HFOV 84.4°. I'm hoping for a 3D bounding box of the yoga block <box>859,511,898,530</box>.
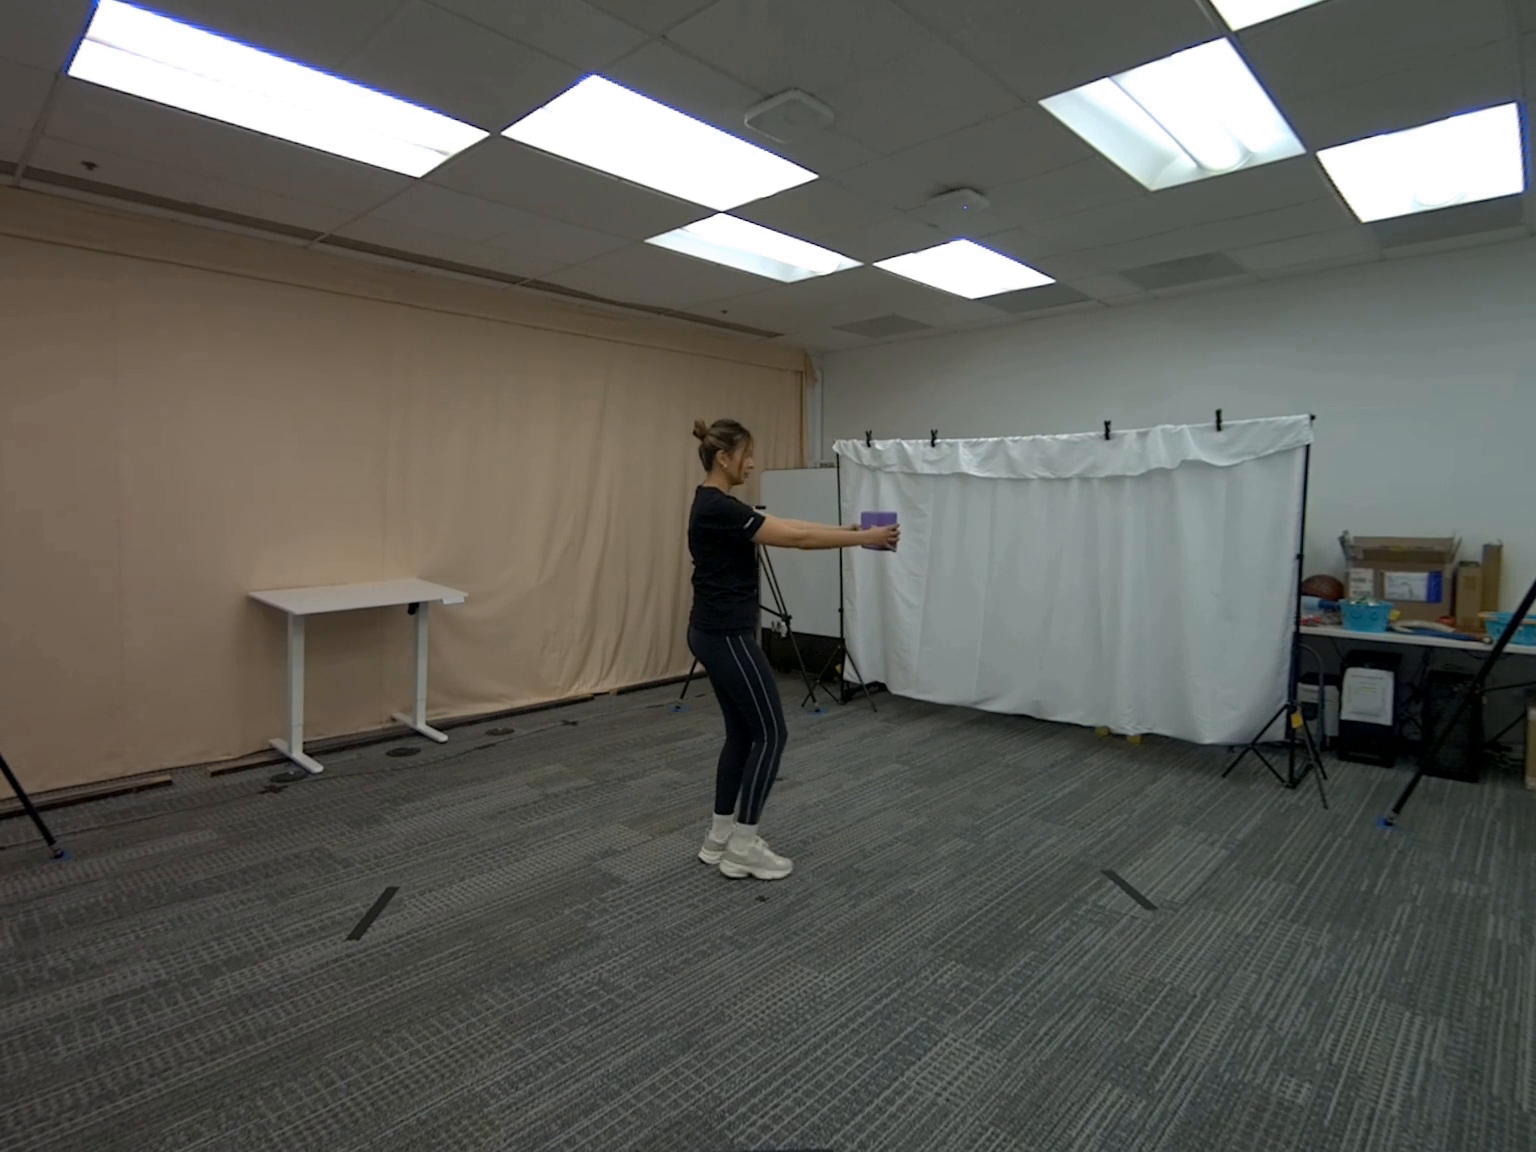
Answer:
[{"bbox_3d":[0.431,-0.179,3.291,0.075,0.149,0.232,0,4,-11],"label":"yoga block"}]
